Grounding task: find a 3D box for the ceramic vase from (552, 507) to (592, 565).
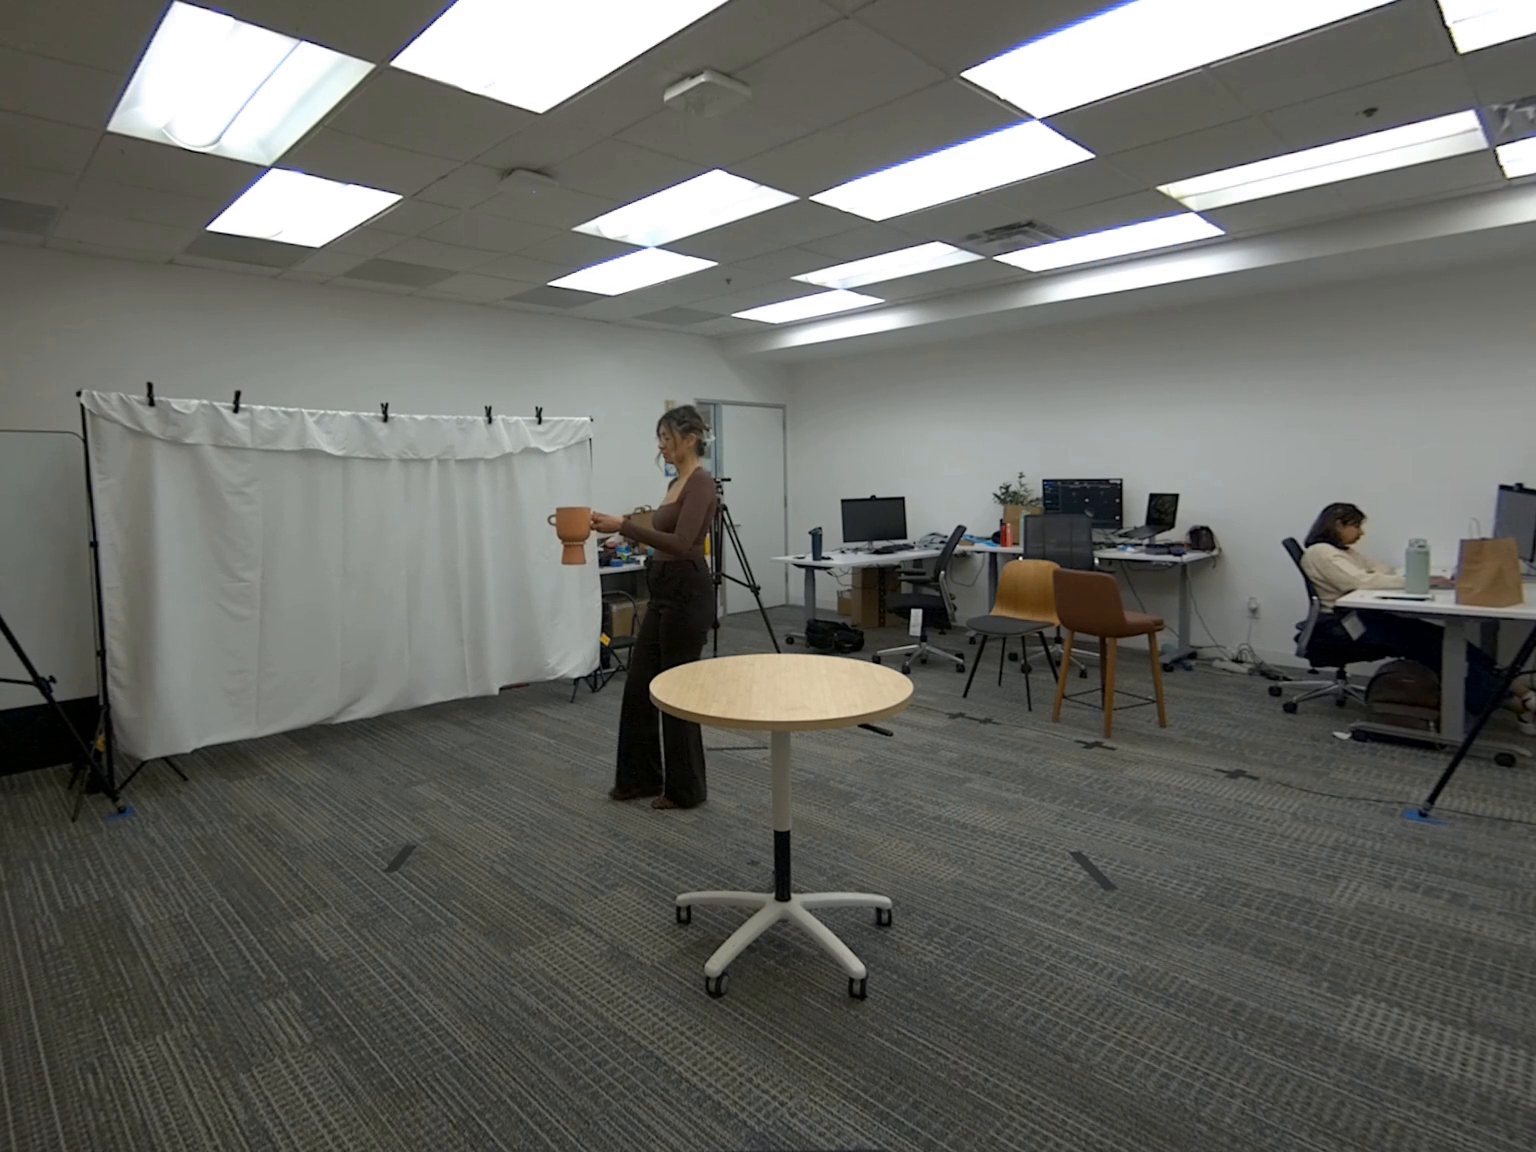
[{"bbox_3d":[-0.759,-0.157,3.331,0.163,0.219,0.131,2,6,31],"label":"ceramic vase"}]
